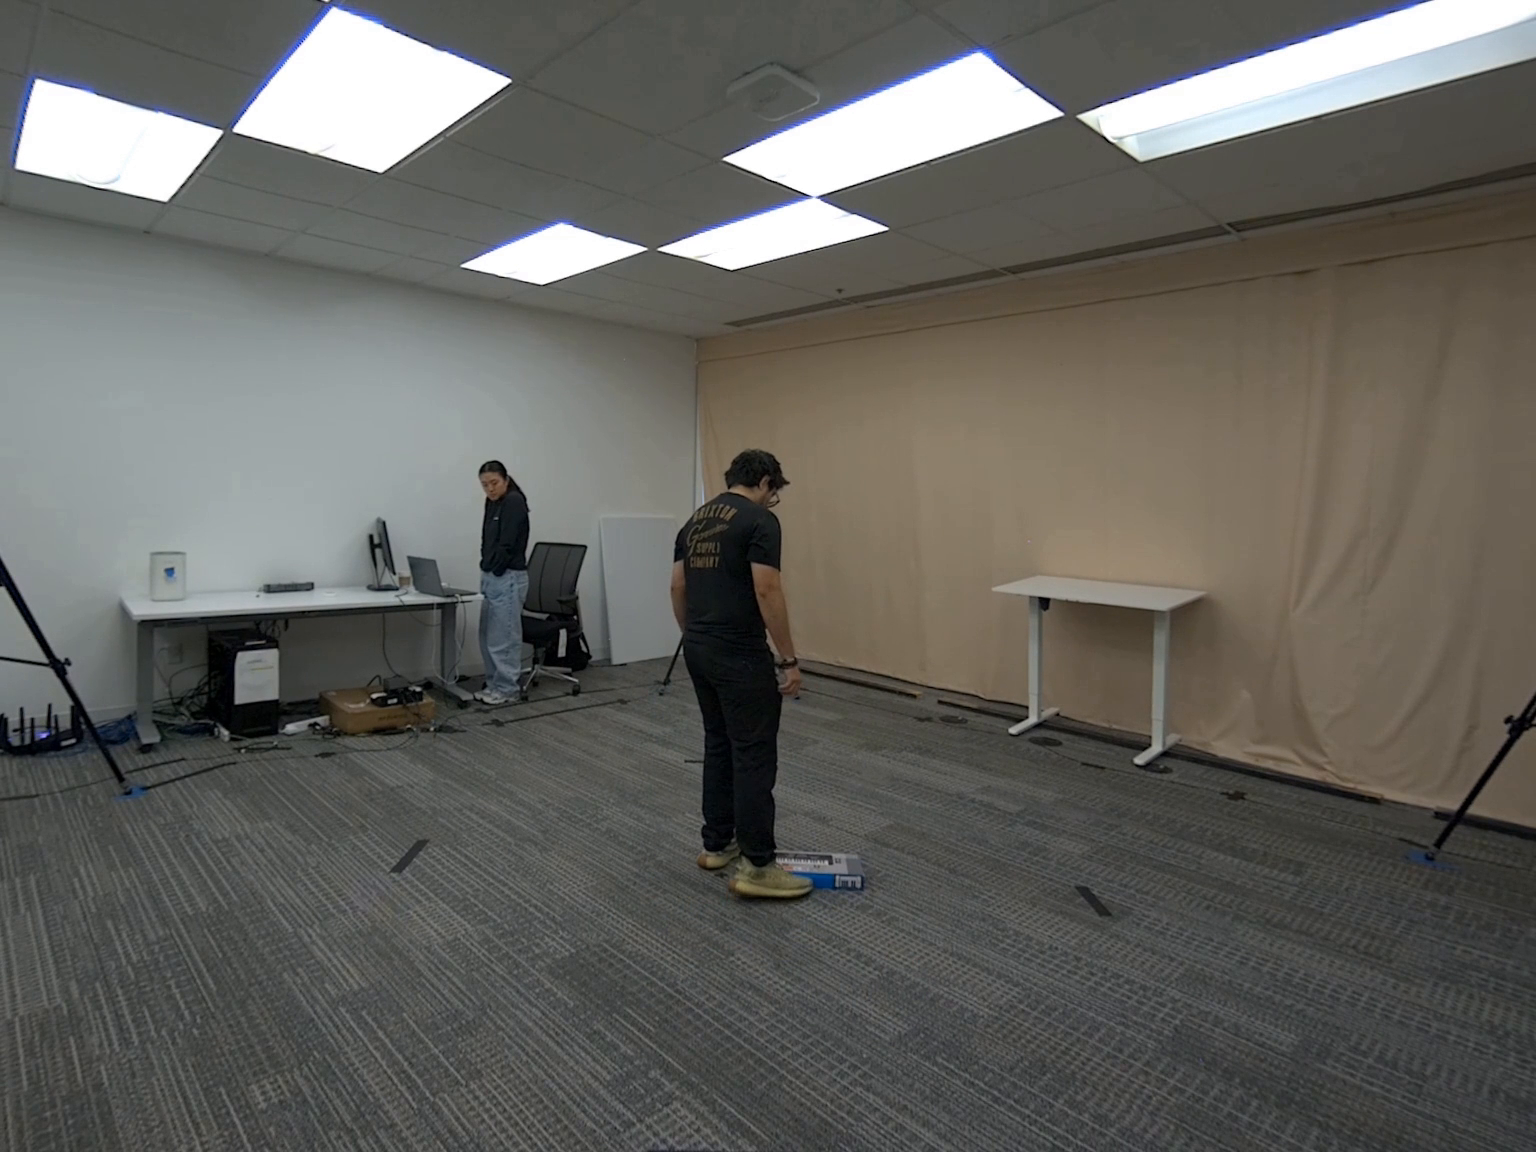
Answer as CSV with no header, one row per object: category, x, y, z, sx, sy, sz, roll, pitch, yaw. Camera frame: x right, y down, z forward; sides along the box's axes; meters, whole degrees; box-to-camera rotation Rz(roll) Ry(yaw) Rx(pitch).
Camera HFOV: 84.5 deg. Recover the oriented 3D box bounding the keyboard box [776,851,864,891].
keyboard box,0.119,1.079,3.102,0.438,0.059,0.176,1,6,4
